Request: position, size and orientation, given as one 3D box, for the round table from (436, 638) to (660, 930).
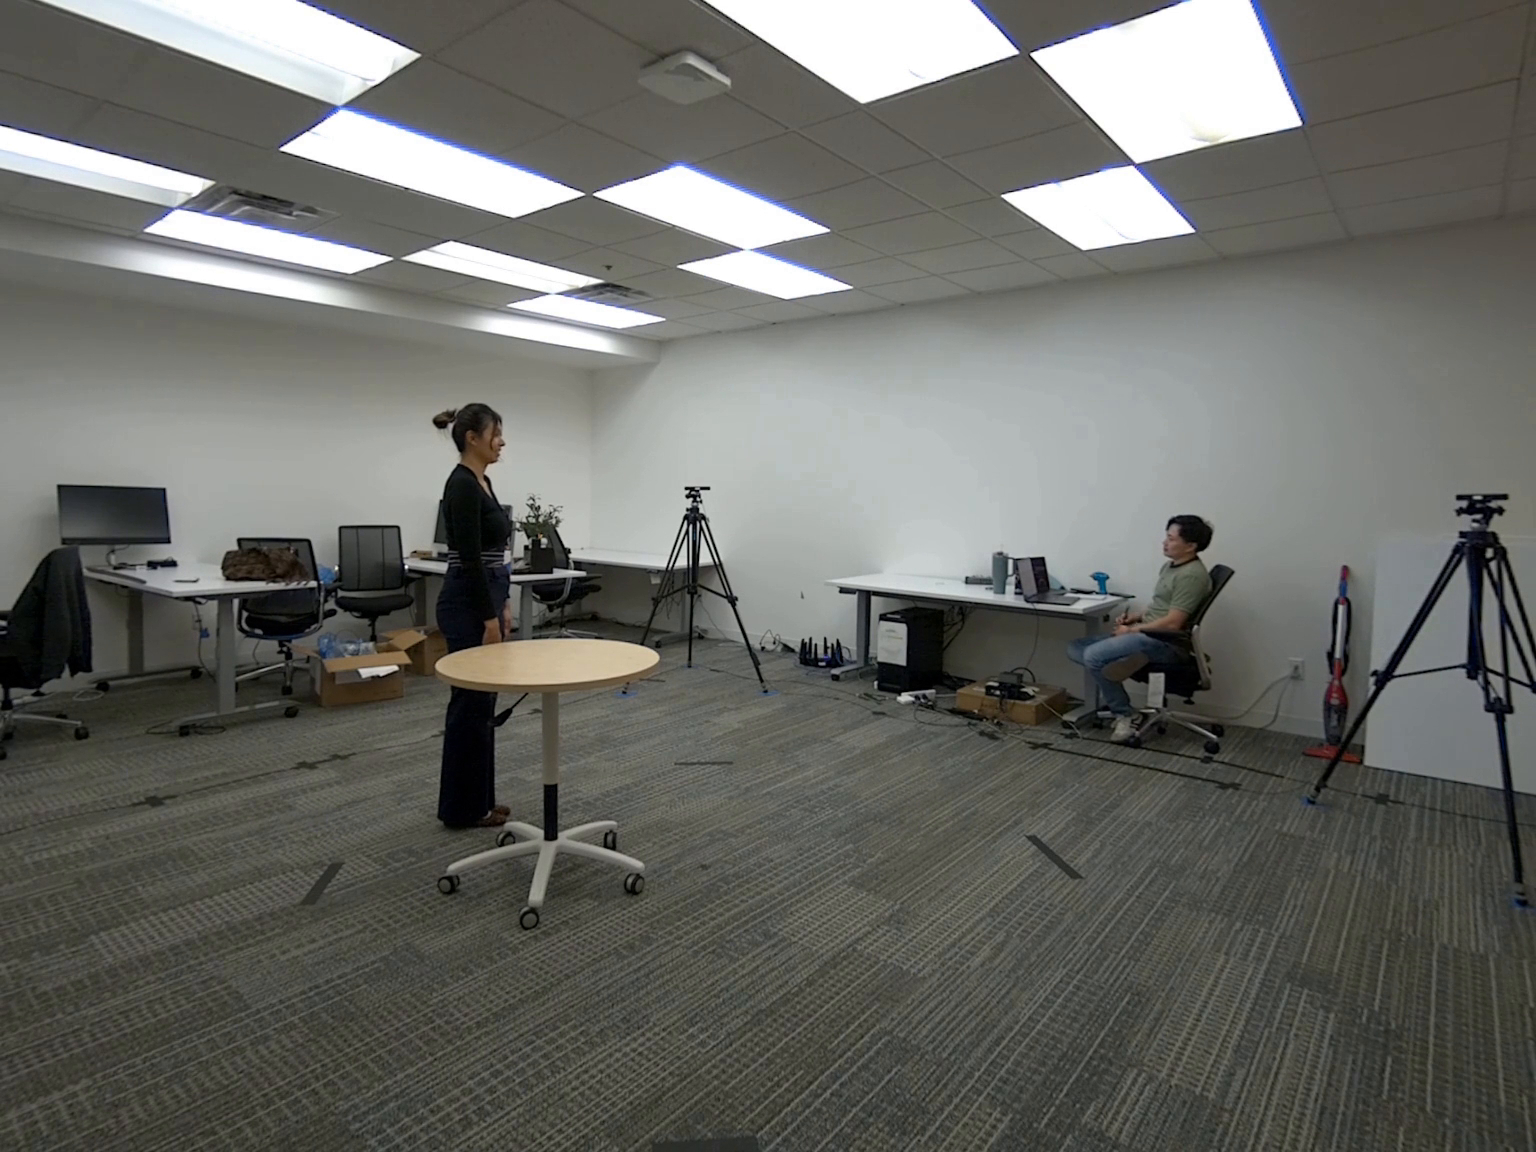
[{"bbox_3d":[-0.775,0.680,2.999,0.763,0.791,0.768,0,4,-2],"label":"round table"}]
